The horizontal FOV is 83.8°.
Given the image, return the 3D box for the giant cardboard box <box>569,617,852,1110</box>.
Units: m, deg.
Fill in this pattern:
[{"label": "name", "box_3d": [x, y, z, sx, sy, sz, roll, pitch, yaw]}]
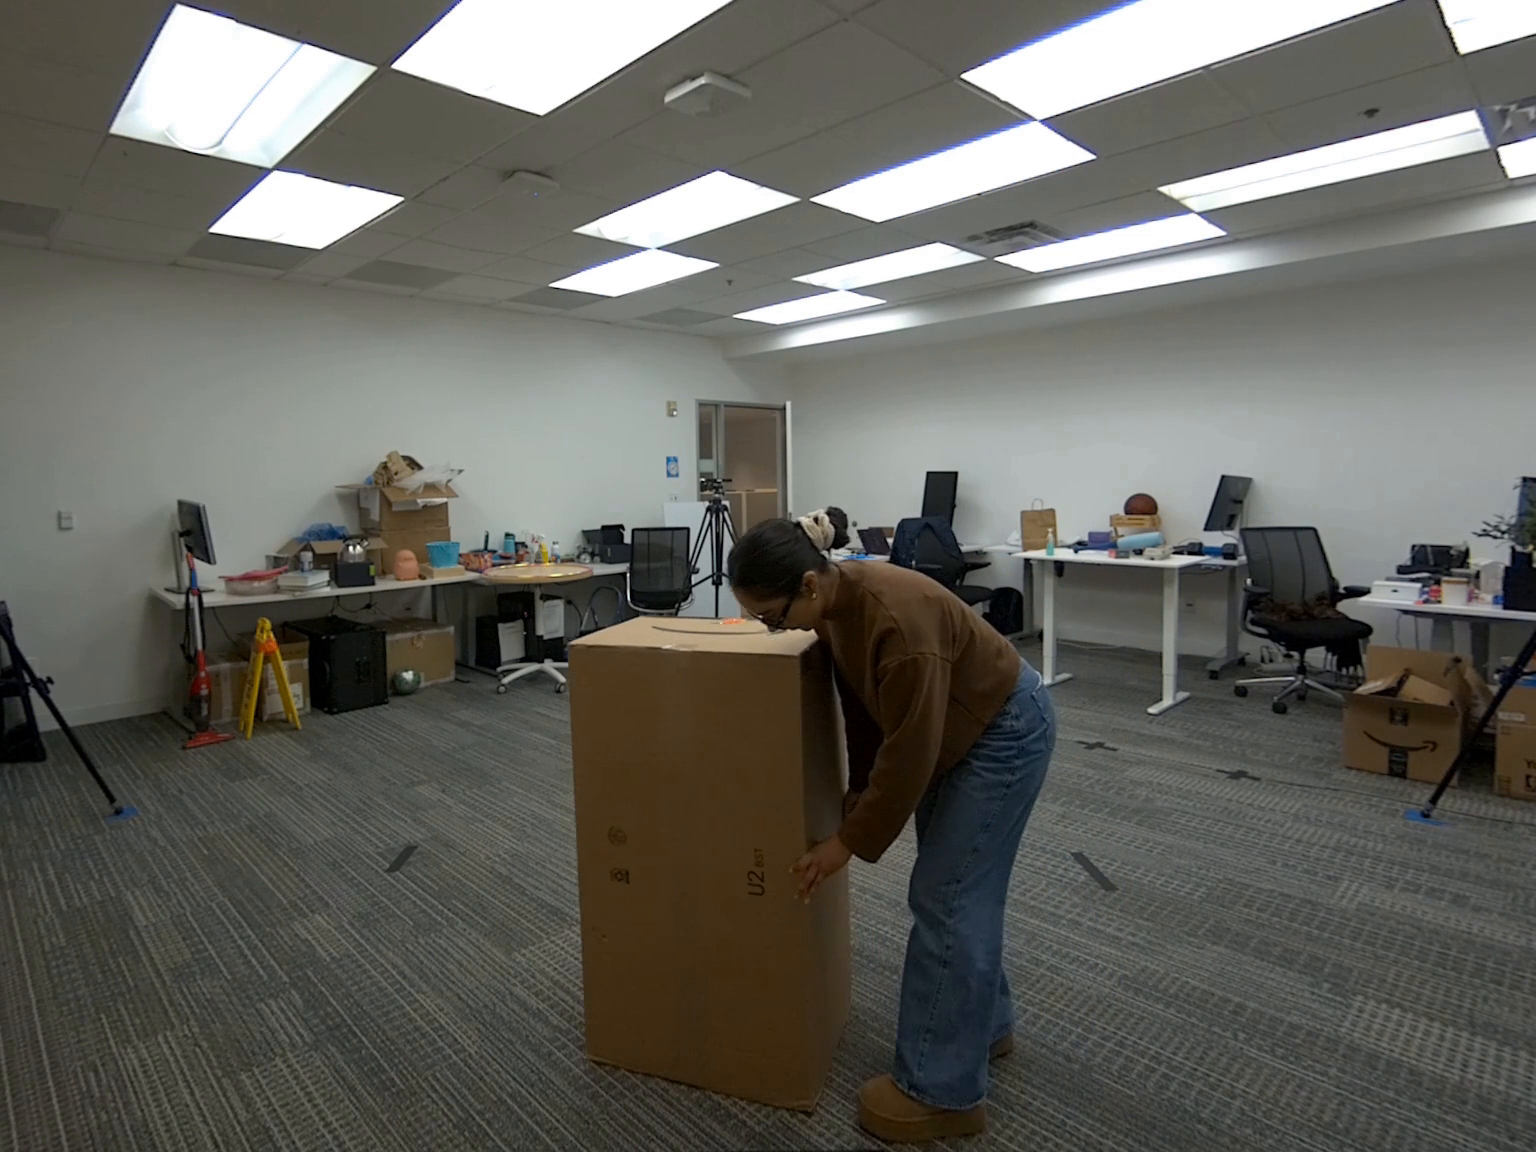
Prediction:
[{"label": "giant cardboard box", "box_3d": [-0.115, 0.654, 2.144, 0.588, 1.022, 0.420, -1, 4, 19]}]
